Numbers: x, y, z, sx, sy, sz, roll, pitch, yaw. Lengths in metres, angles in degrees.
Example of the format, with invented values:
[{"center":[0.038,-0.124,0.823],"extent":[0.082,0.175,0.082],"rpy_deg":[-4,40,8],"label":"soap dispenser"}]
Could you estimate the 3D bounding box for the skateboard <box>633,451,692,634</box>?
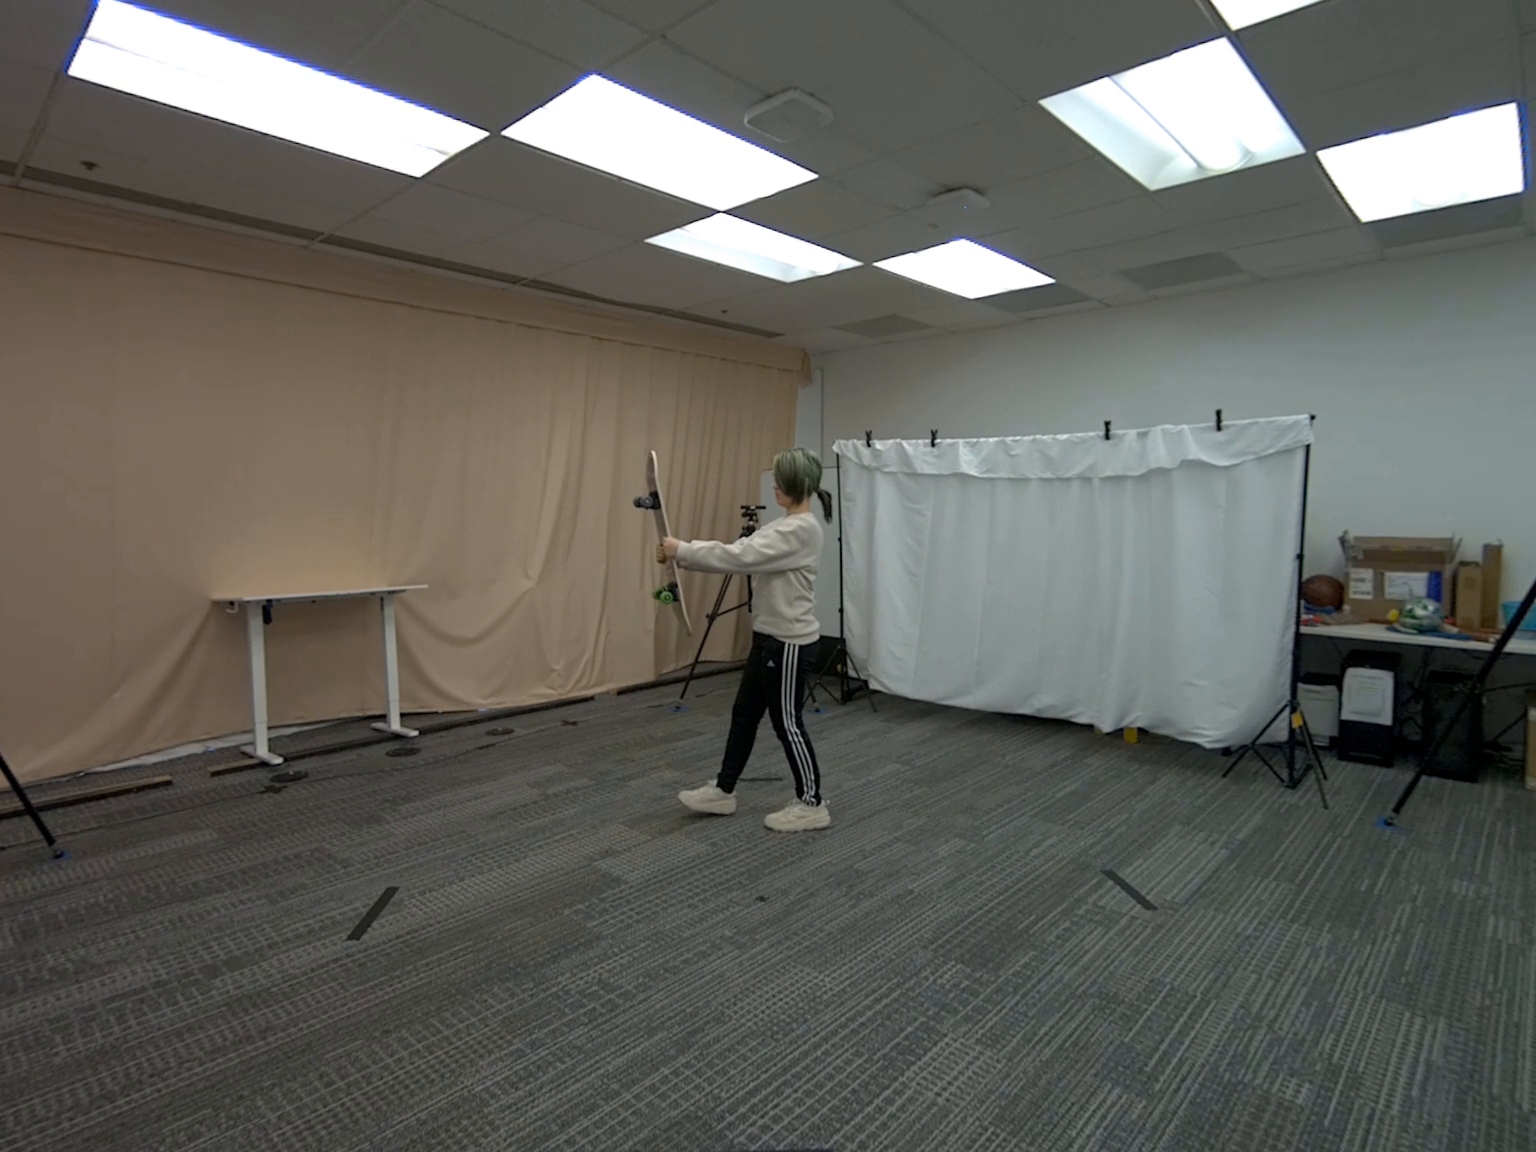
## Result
[{"center":[-0.457,-0.120,3.489],"extent":[0.108,0.782,0.197],"rpy_deg":[-11,5,-19],"label":"skateboard"}]
